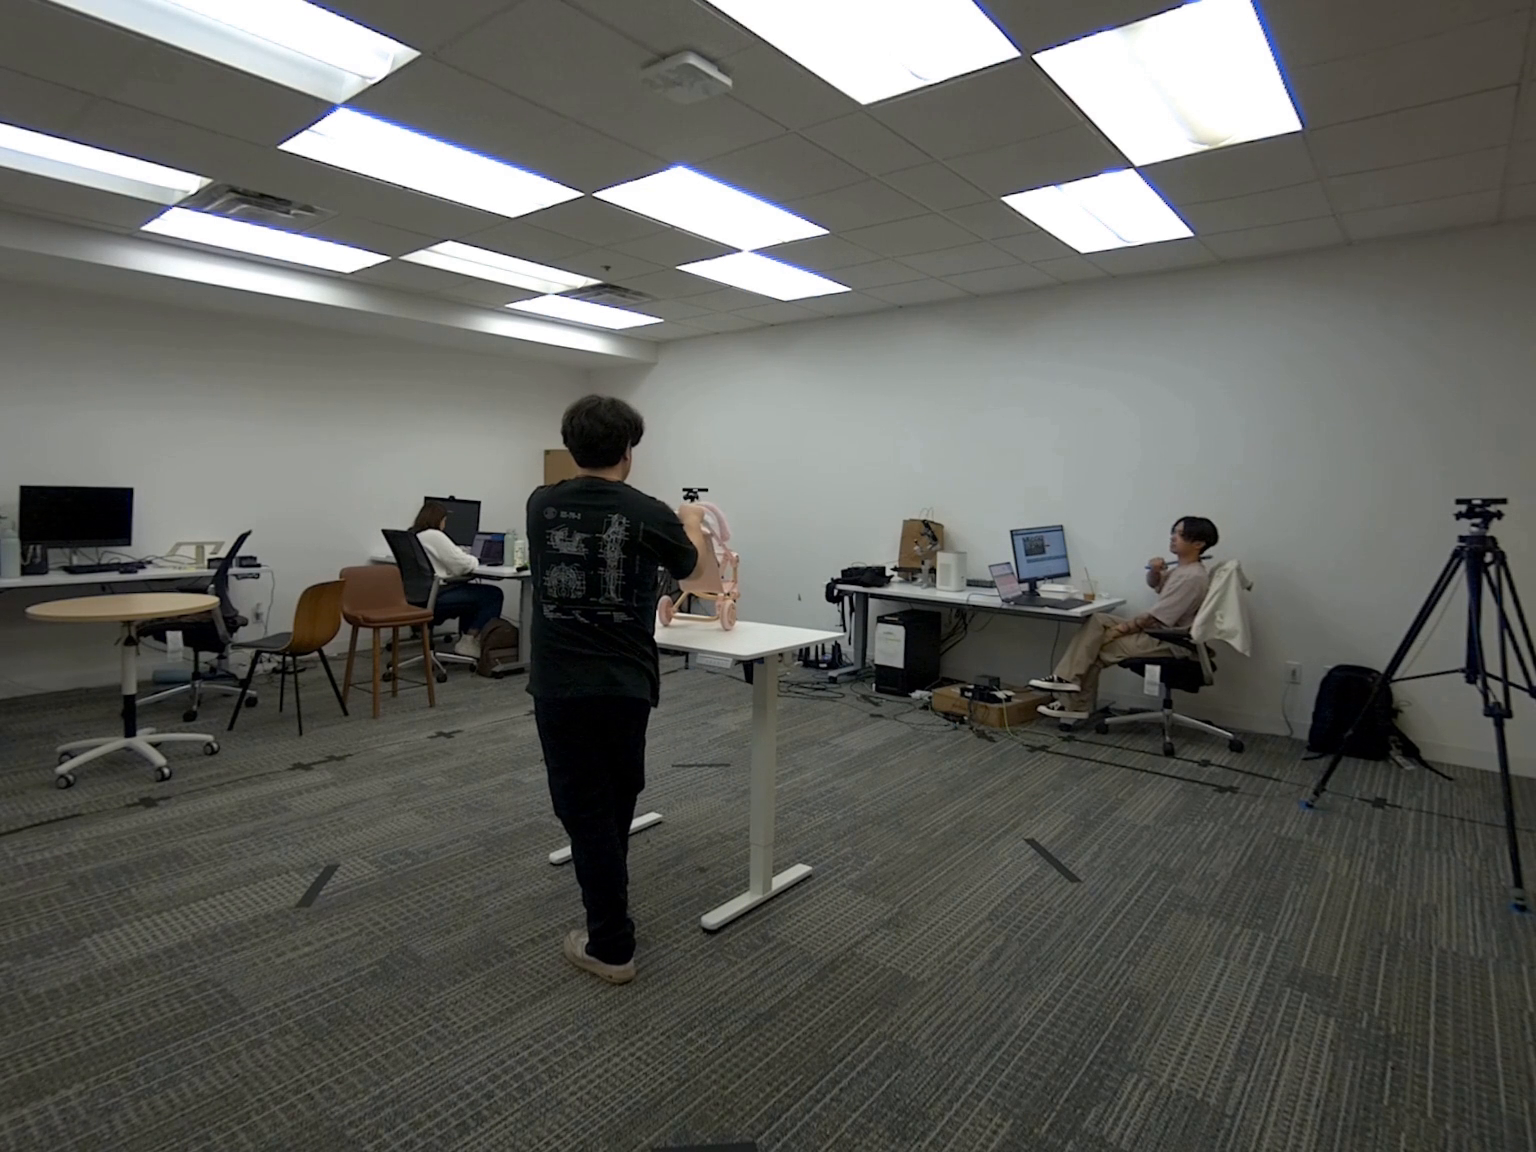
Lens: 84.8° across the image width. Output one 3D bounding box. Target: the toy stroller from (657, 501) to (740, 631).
[{"bbox_3d":[-0.248,-0.038,3.141,0.289,0.526,0.339,3,19,24],"label":"toy stroller"}]
